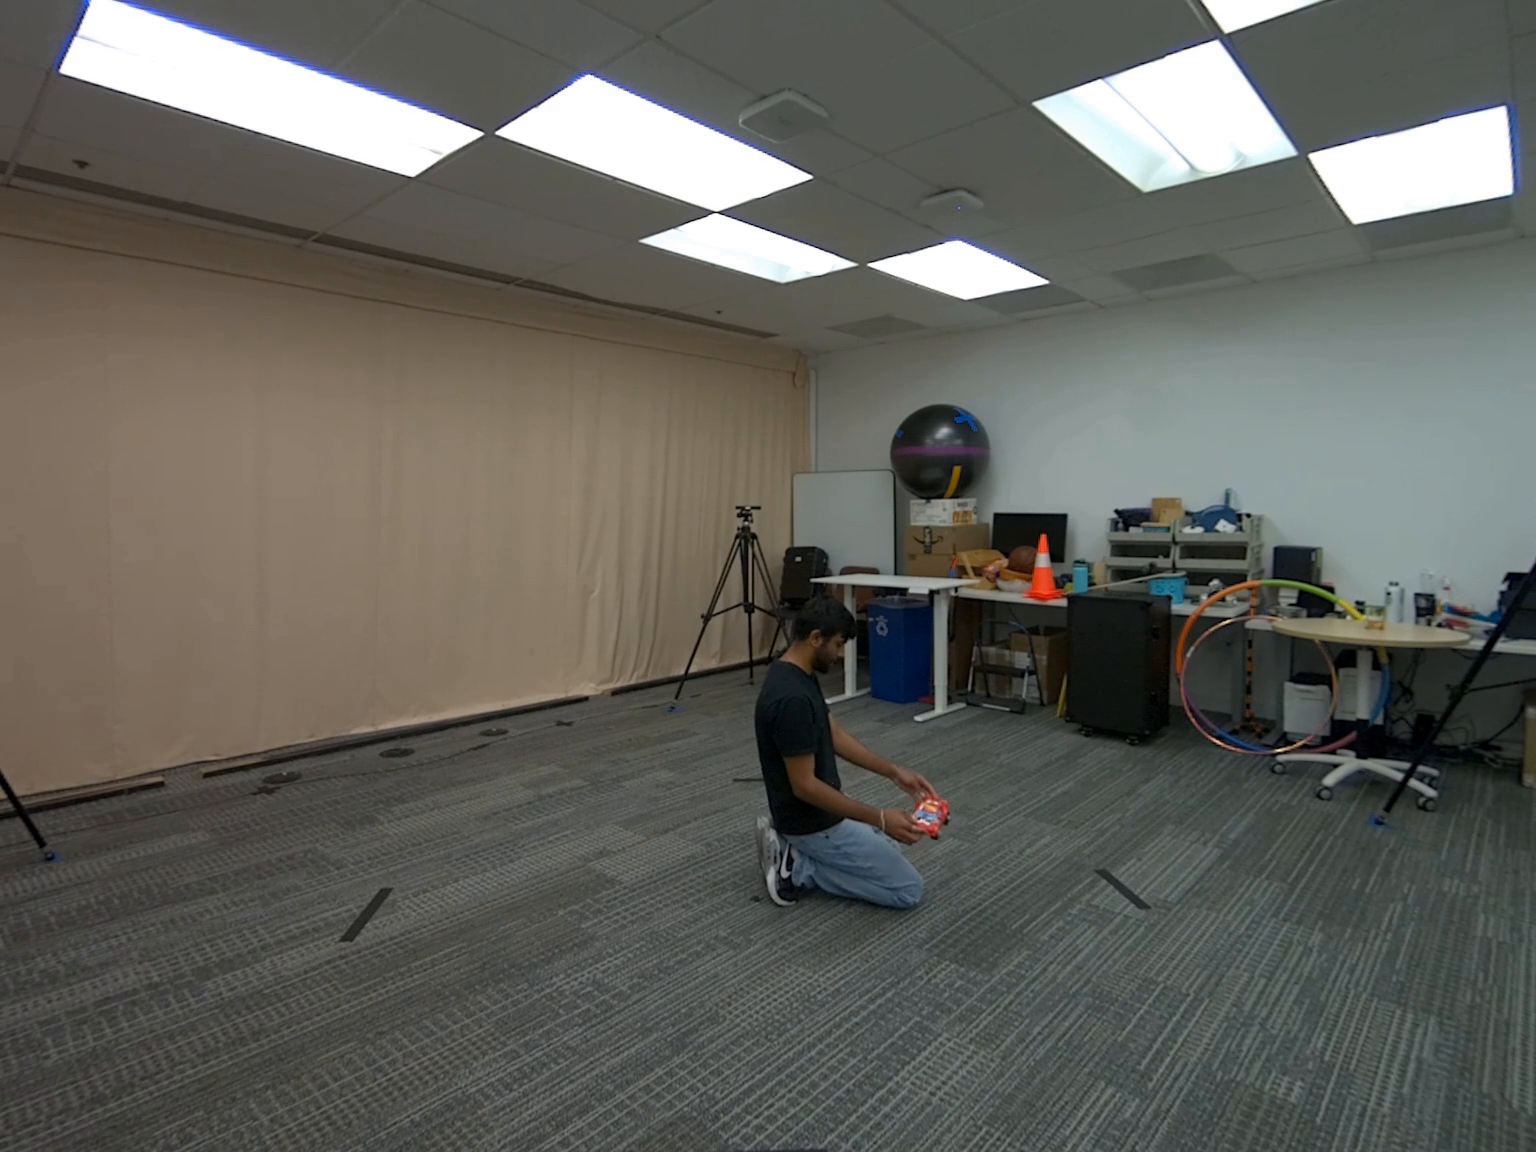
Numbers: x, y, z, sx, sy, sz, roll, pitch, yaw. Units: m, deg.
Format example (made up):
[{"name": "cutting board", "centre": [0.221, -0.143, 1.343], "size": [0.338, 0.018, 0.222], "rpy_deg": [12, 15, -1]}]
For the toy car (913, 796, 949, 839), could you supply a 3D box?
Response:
[{"name": "toy car", "centre": [0.541, 0.814, 2.855], "size": [0.134, 0.082, 0.250], "rpy_deg": [6, 18, 24]}]
